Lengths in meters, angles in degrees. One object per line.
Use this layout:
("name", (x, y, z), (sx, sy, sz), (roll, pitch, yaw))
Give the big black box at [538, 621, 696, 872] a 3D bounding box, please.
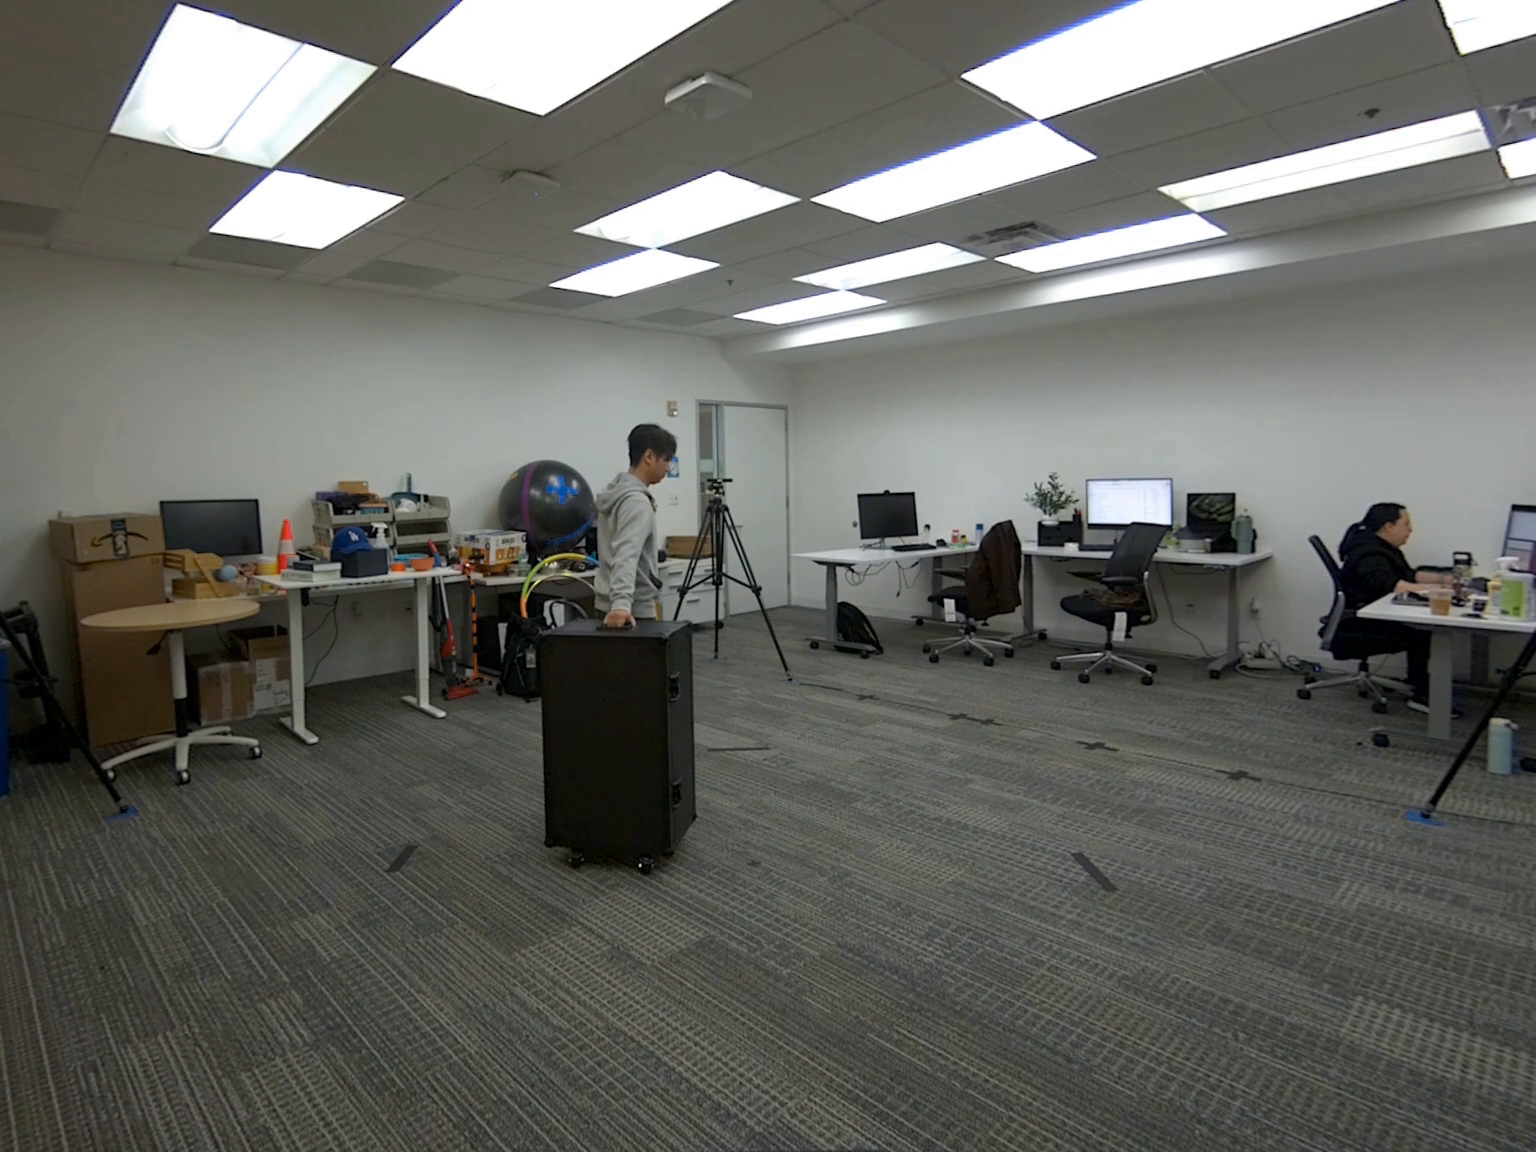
("big black box", (-0.553, 0.619, 3.228), (0.528, 0.860, 0.392), (0, 2, 12))
